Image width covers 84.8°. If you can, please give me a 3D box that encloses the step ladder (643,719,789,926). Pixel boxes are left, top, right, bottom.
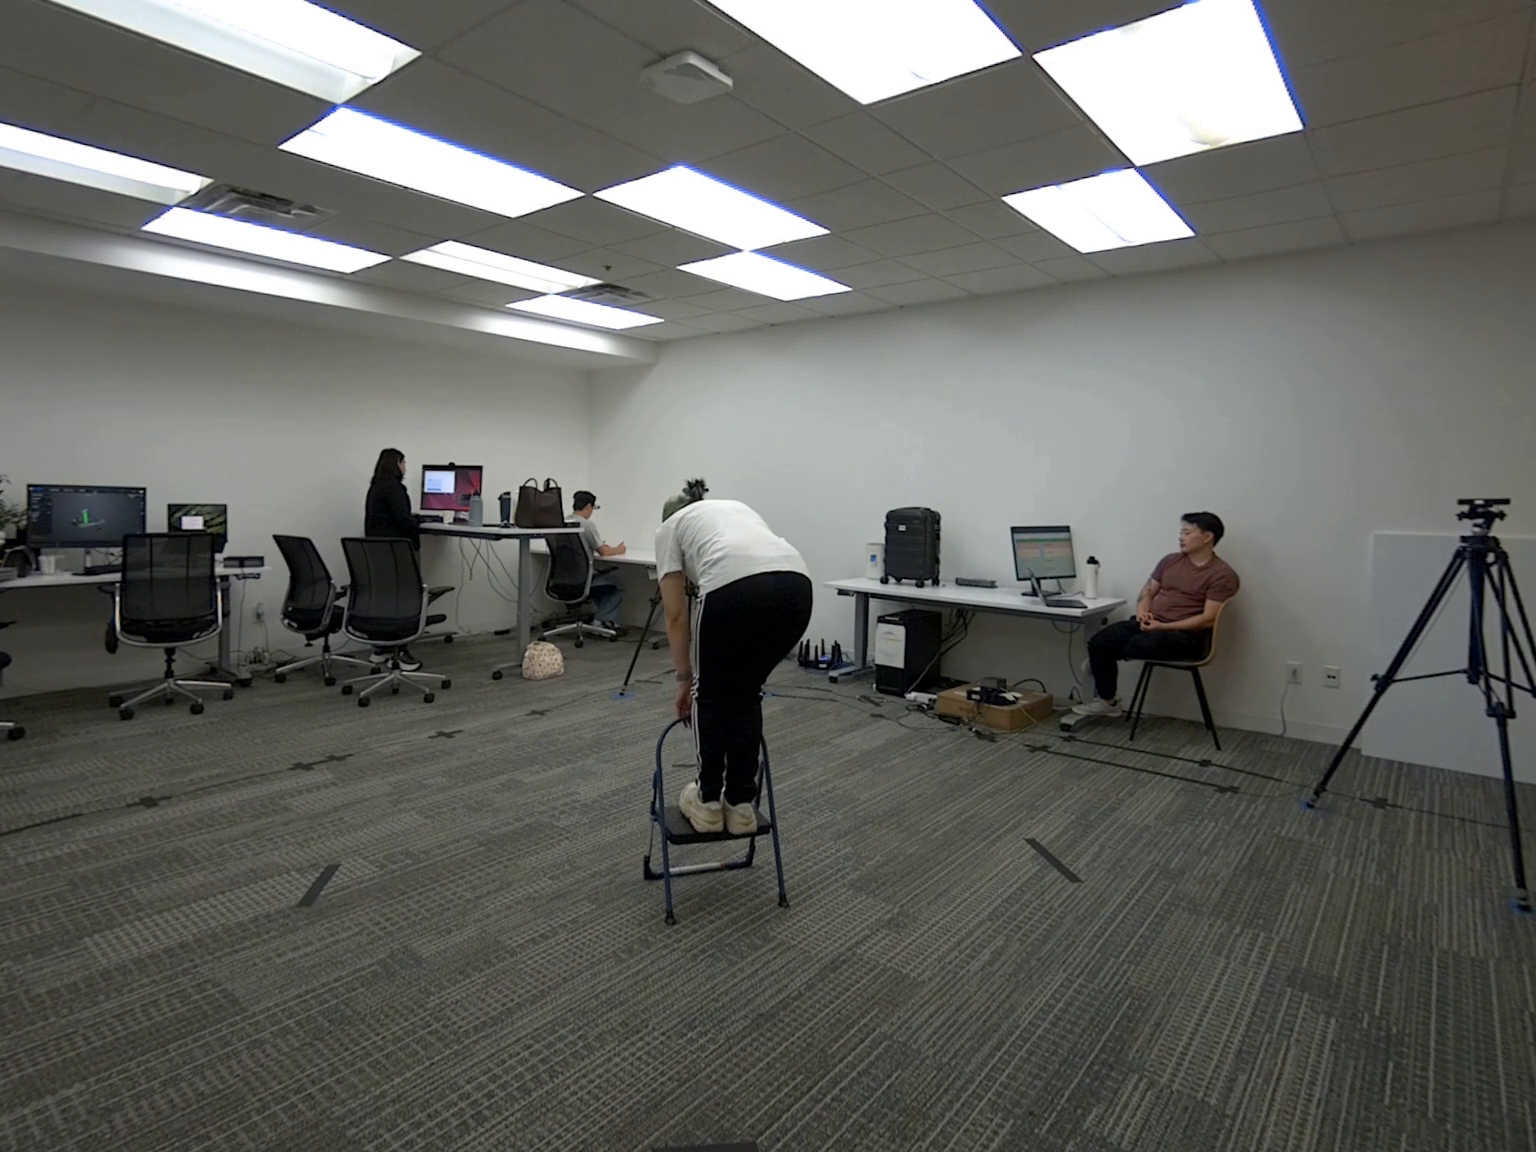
[{"bbox_3d":[-0.193,0.789,2.923,0.421,0.604,0.358,0,3,-22],"label":"step ladder"}]
